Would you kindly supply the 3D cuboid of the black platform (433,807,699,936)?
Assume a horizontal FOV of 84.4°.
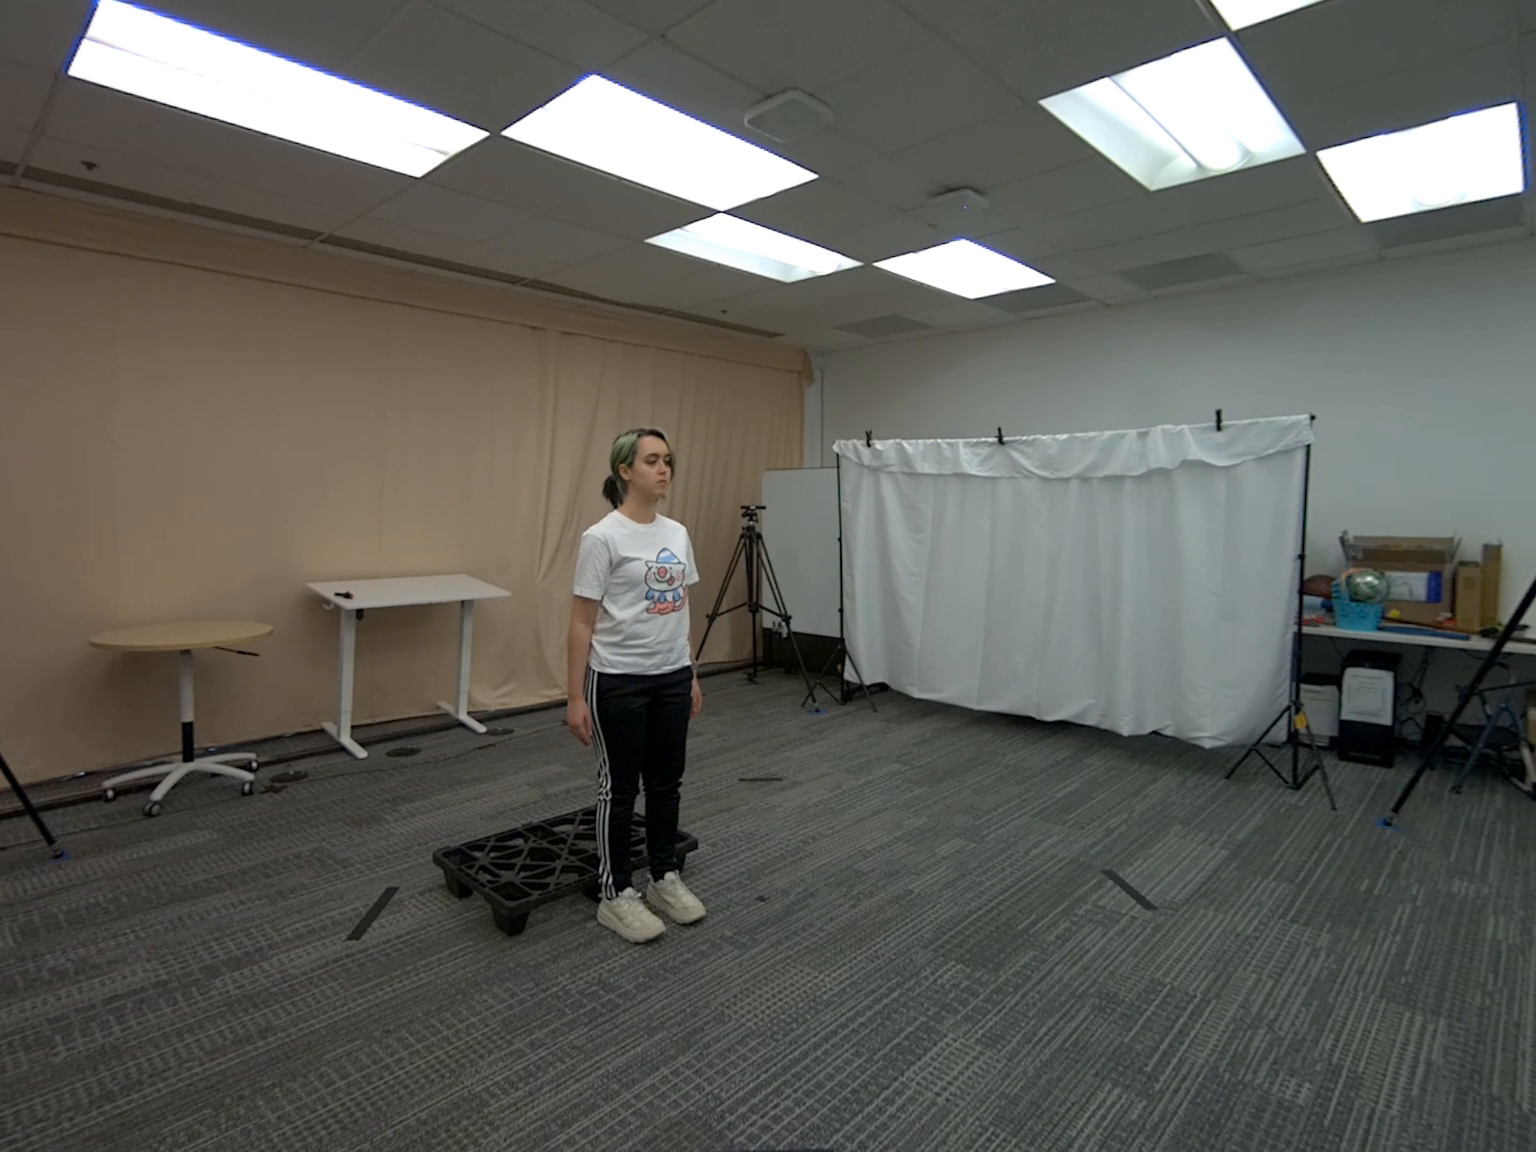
[{"bbox_3d":[-0.741,1.071,3.139,0.781,0.143,0.625,-5,7,-44],"label":"black platform"}]
